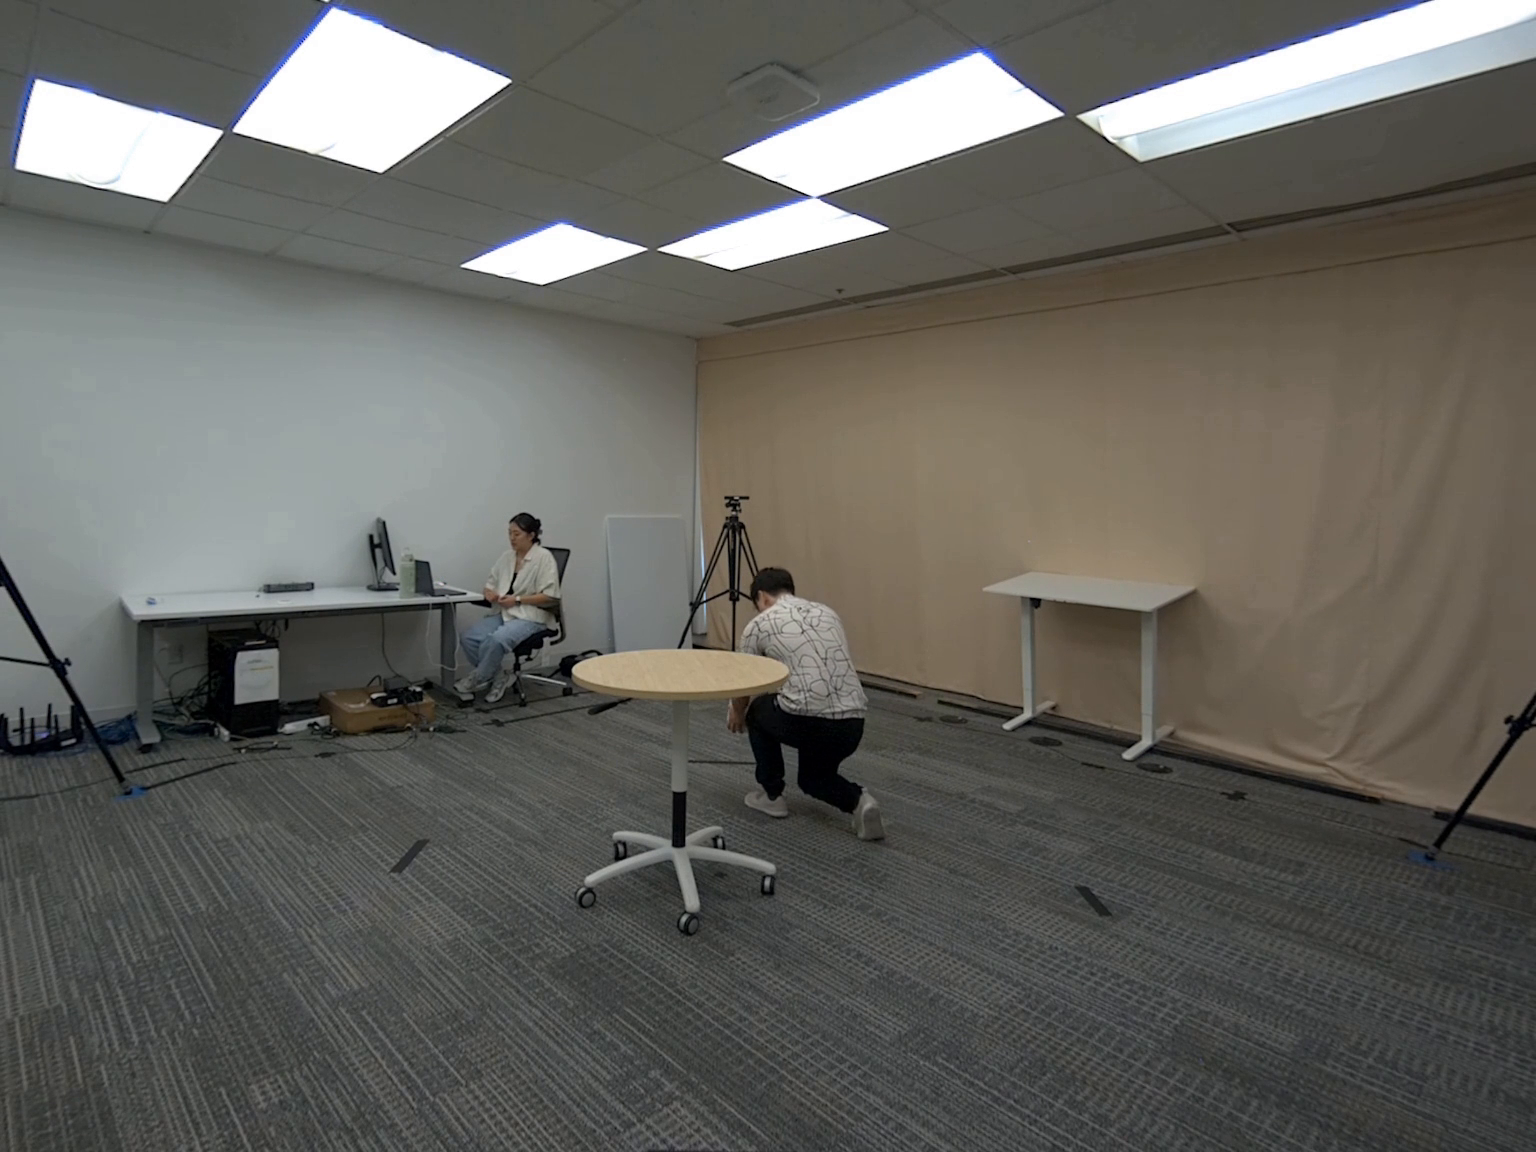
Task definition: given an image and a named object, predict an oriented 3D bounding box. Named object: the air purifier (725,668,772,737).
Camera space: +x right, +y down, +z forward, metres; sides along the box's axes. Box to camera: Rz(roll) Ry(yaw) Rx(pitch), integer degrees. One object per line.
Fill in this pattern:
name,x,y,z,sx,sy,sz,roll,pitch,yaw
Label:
air purifier,-0.097,0.607,4.058,0.171,0.263,0.173,7,11,-7
